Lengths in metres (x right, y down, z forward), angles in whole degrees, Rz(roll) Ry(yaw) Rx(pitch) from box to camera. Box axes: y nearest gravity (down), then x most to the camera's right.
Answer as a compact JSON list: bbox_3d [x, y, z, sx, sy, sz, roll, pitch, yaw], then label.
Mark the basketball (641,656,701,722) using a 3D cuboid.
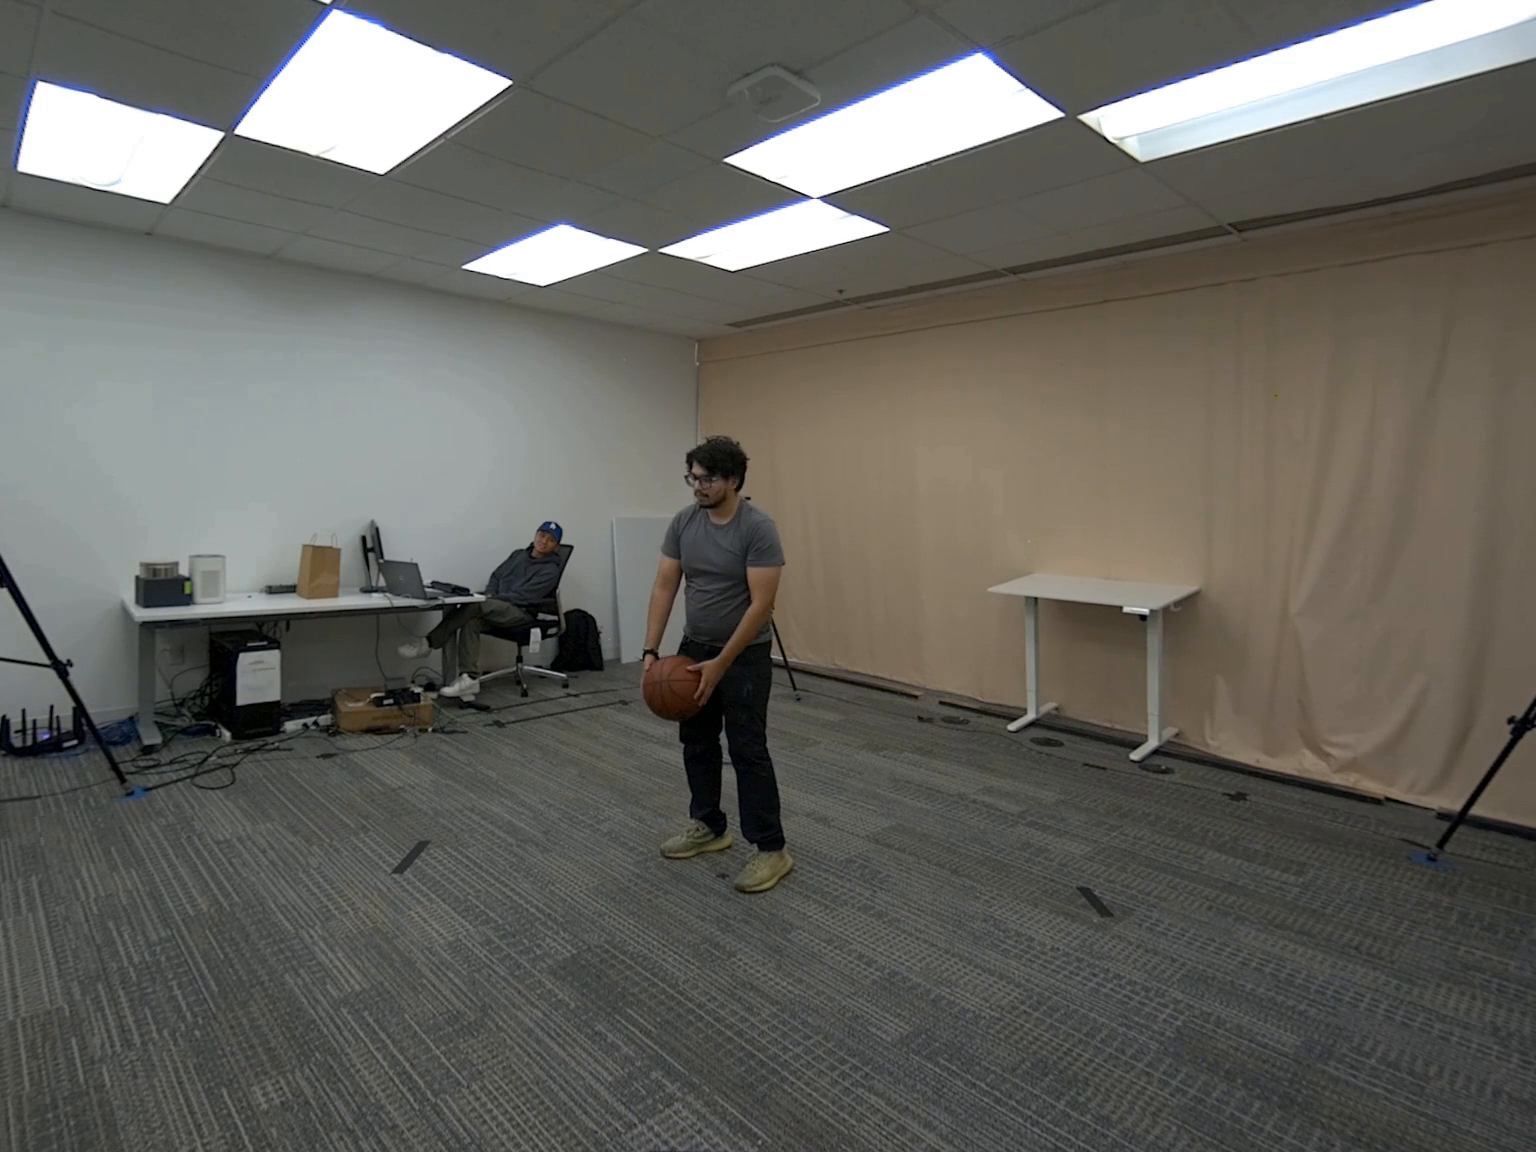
[{"bbox_3d":[-0.344,0.404,3.060,0.236,0.235,0.237,1,4,-1],"label":"basketball"}]
